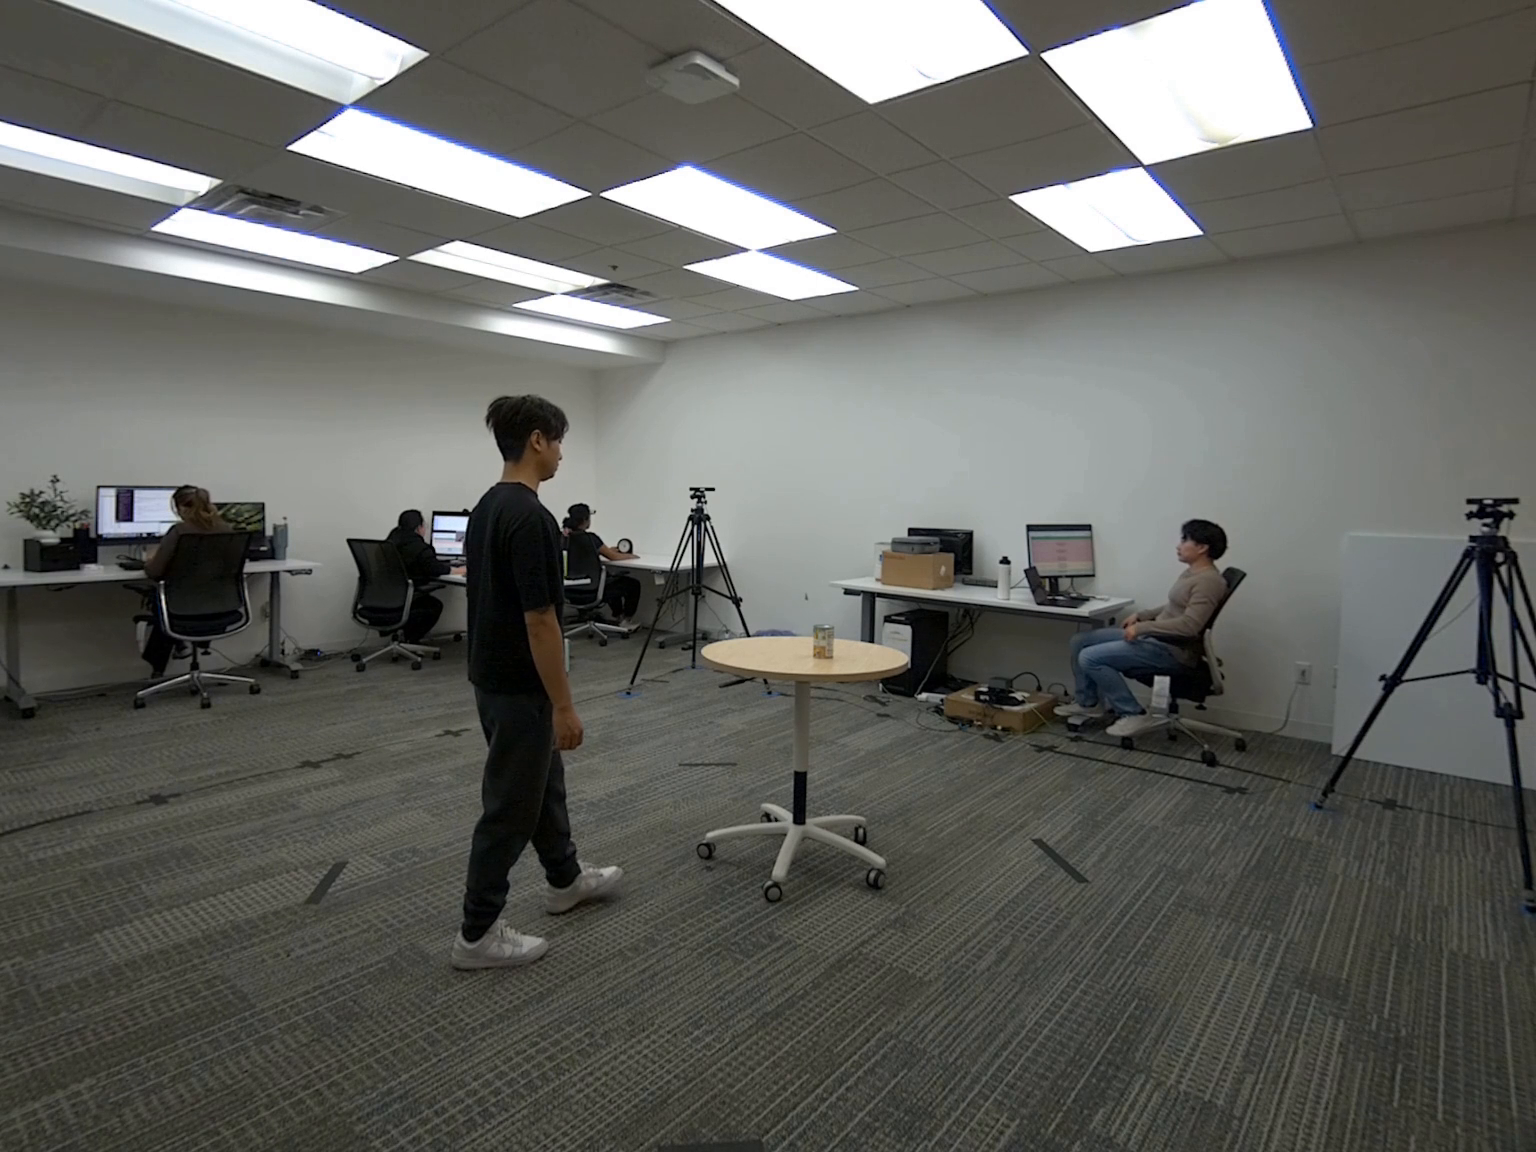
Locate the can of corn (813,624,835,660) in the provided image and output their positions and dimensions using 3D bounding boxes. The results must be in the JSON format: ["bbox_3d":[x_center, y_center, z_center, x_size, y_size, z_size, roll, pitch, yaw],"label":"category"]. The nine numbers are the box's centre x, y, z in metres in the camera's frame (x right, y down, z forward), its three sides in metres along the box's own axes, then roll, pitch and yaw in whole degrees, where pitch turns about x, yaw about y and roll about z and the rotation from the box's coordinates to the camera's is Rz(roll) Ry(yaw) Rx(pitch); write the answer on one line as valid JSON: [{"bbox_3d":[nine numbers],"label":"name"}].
[{"bbox_3d":[0.197,0.237,3.094,0.074,0.110,0.074,2,5,-2],"label":"can of corn"}]
